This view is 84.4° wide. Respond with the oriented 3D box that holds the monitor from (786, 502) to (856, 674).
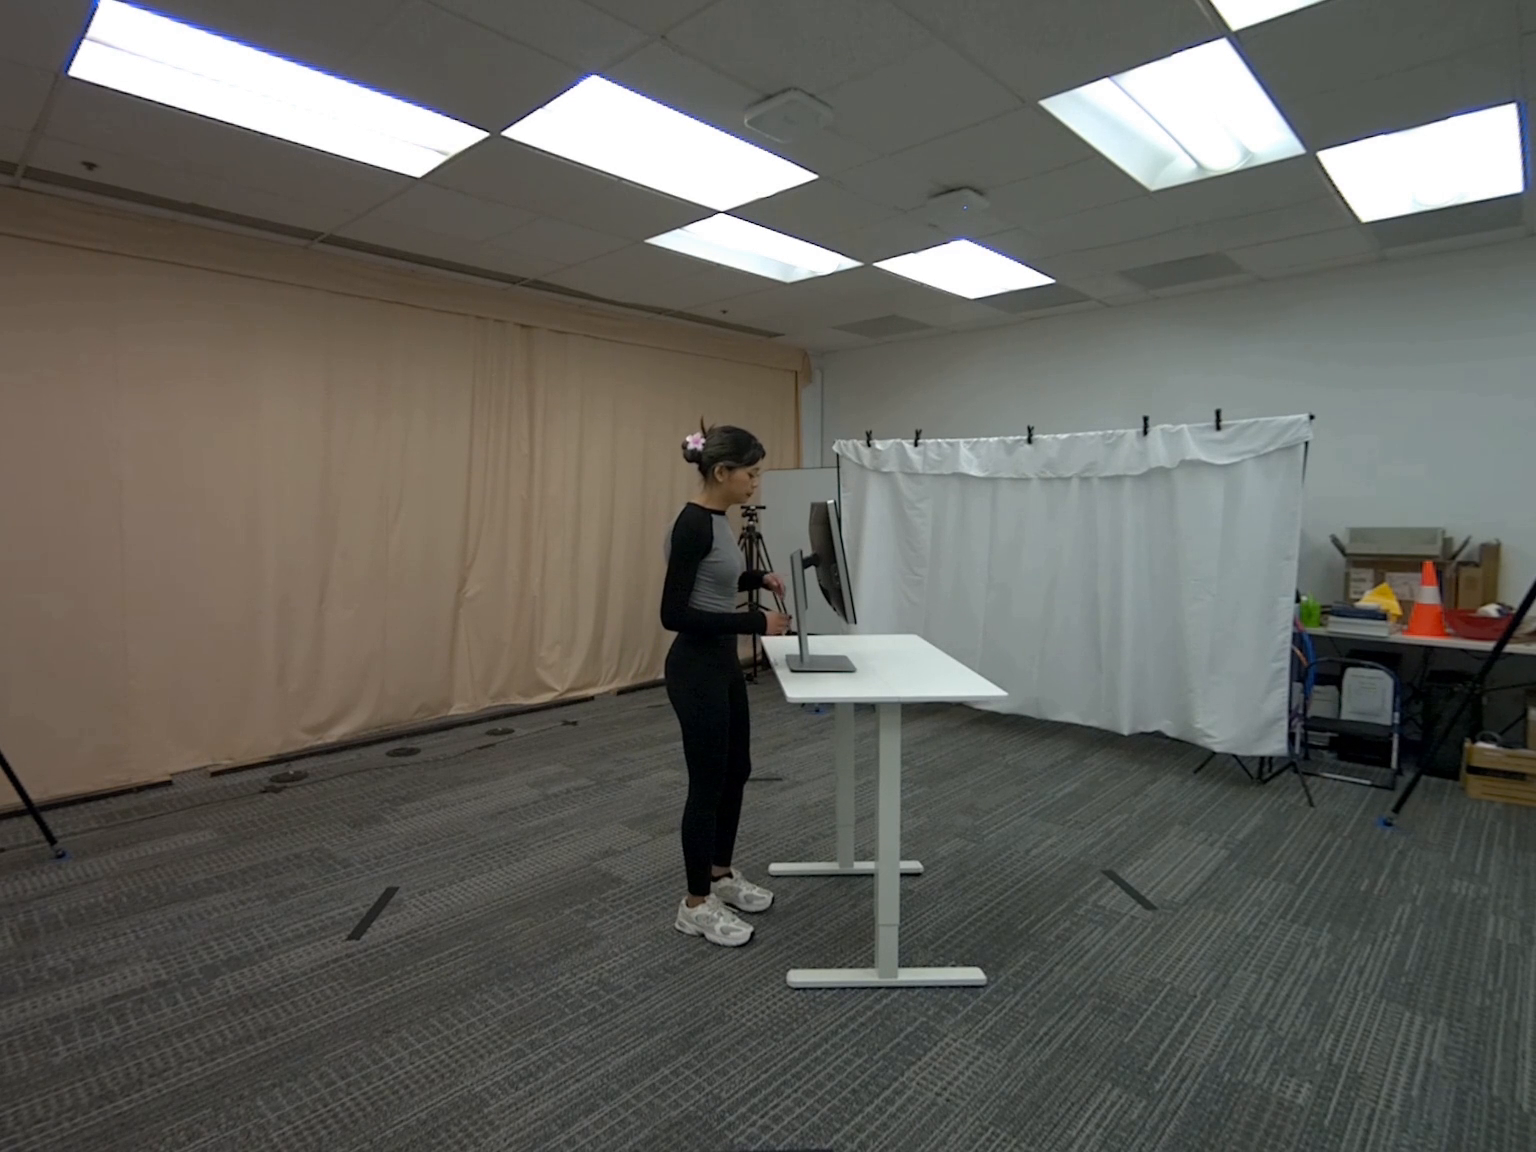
[{"bbox_3d":[0.167,0.030,2.683,0.187,0.521,0.541,2,5,-3],"label":"monitor"}]
